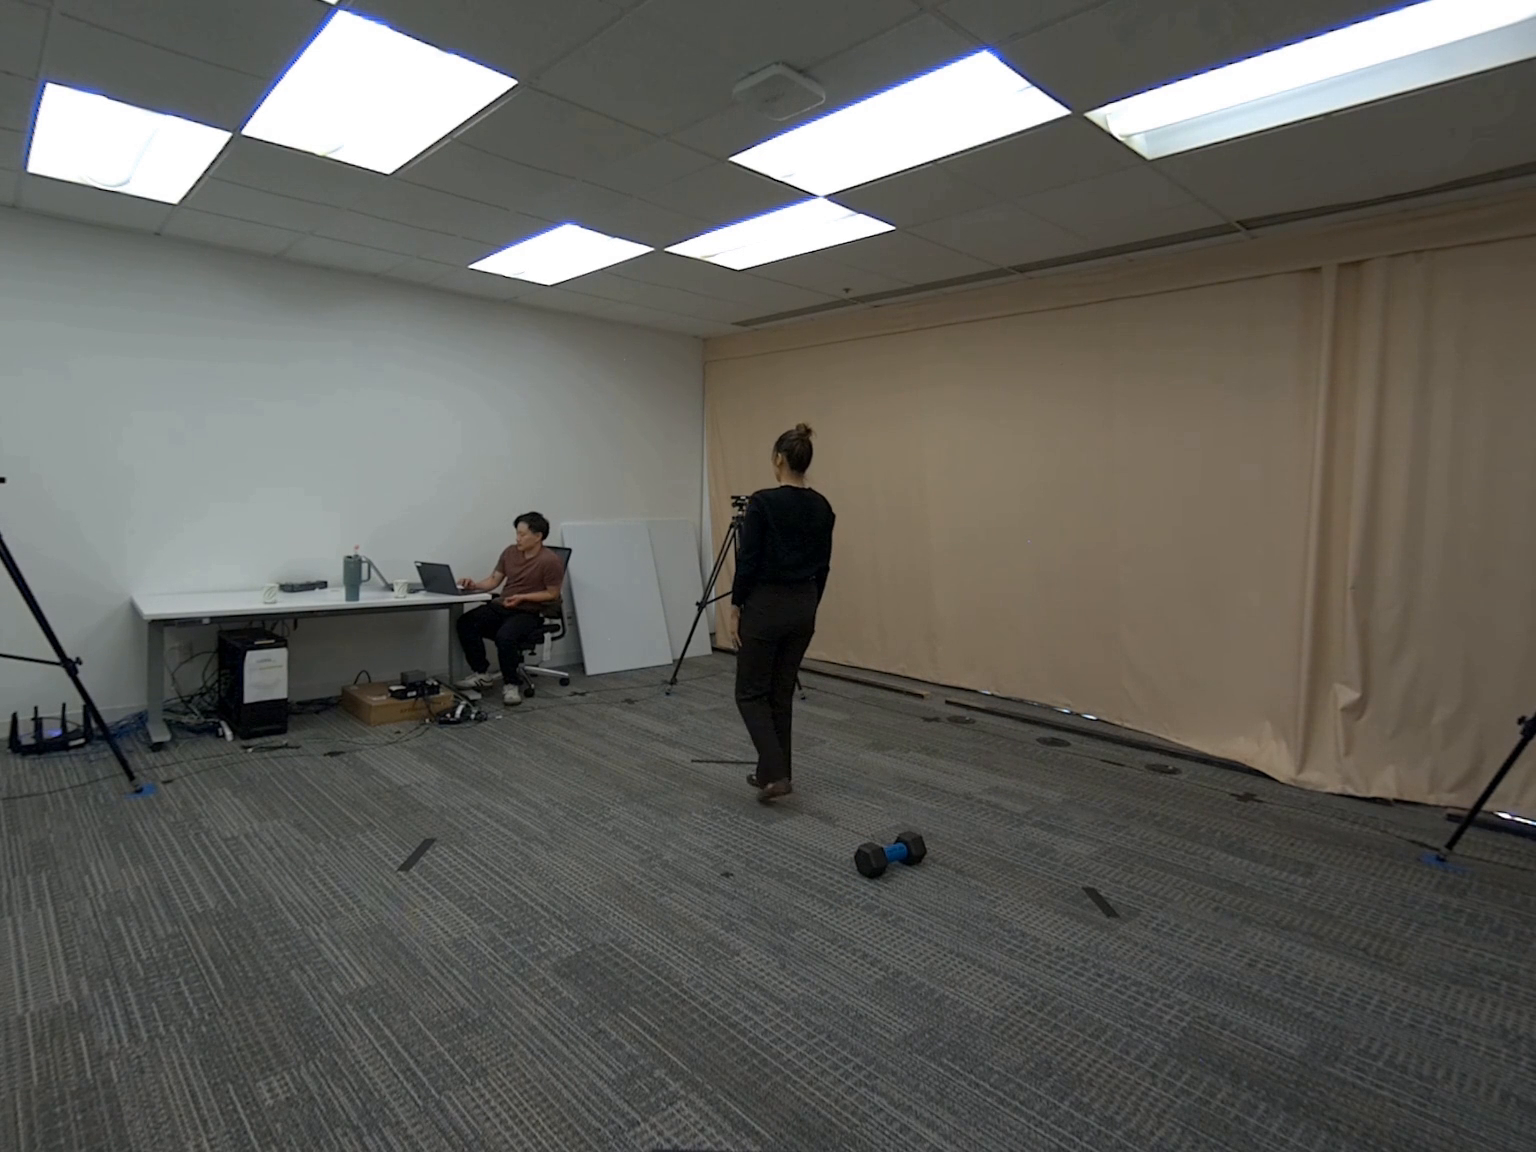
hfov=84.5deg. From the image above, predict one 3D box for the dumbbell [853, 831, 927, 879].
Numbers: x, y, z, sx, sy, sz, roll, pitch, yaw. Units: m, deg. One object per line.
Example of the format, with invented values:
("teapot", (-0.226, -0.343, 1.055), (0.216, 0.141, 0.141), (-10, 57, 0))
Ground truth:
("dumbbell", (0.459, 1.055, 3.189), (0.287, 0.122, 0.112), (-2, 36, -37))
